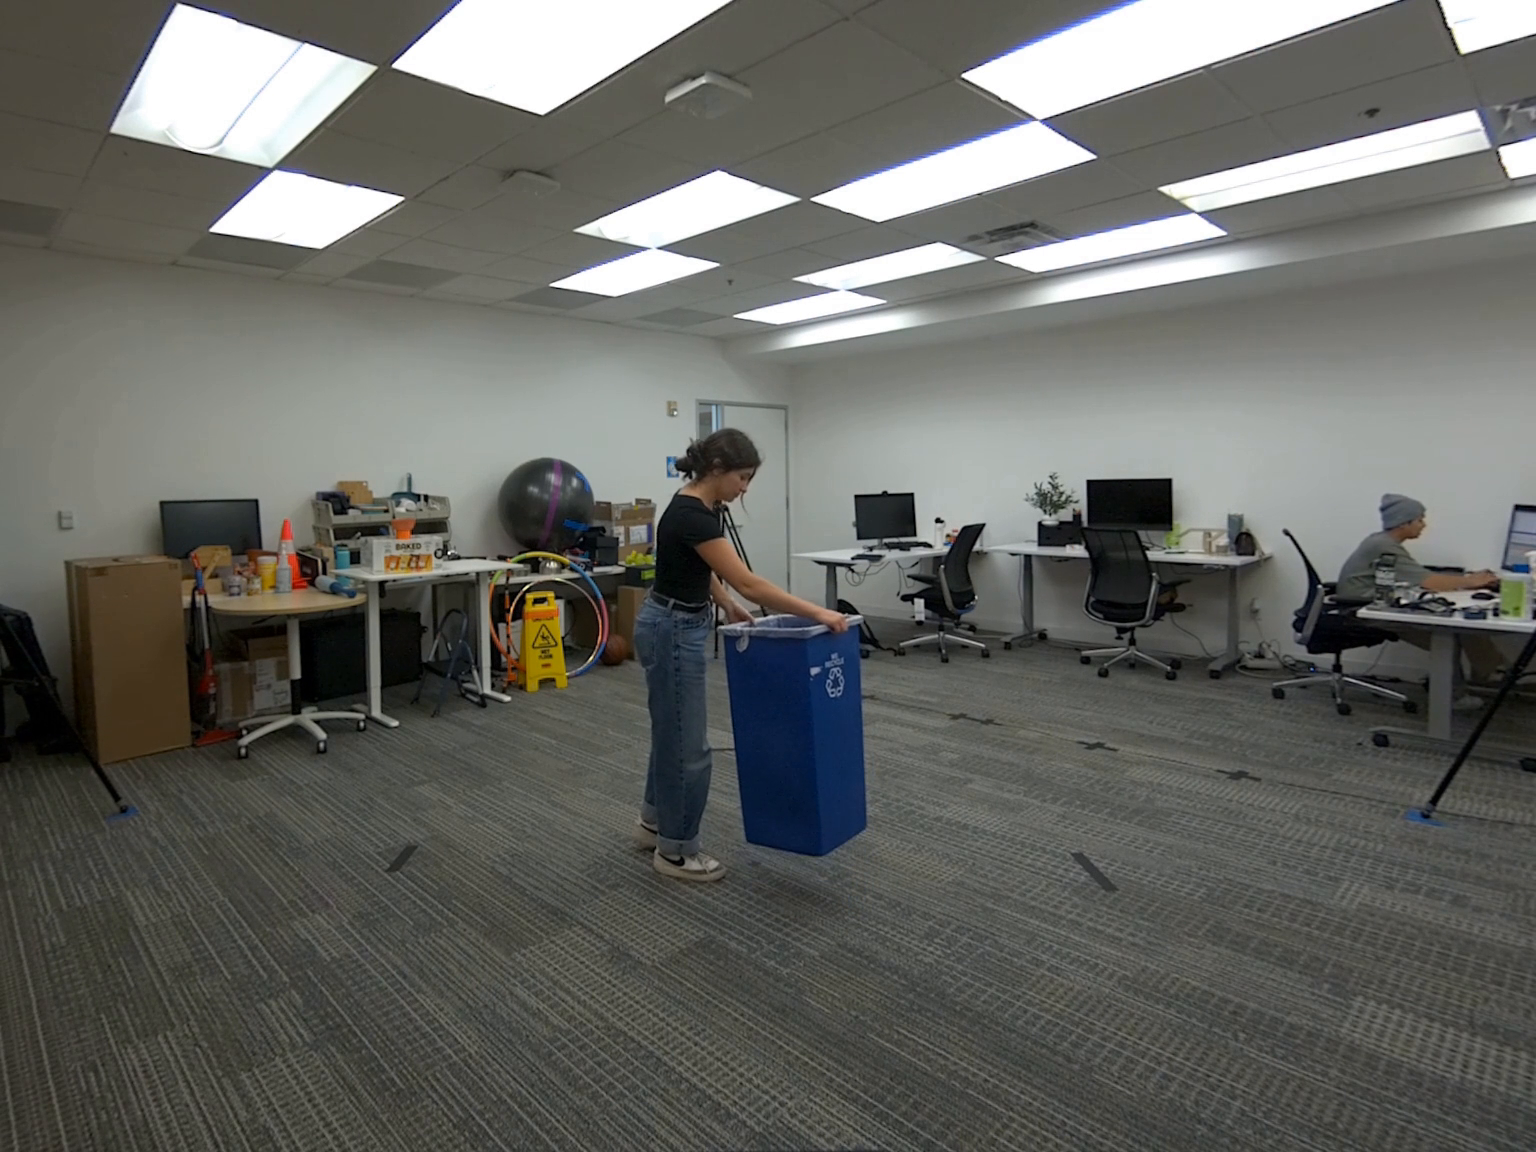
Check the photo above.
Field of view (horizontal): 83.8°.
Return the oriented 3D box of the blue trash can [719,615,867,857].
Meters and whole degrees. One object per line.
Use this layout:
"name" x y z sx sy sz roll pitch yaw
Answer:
"blue trash can" 0.105 0.510 2.851 0.388 0.713 0.364 -3 1 37
